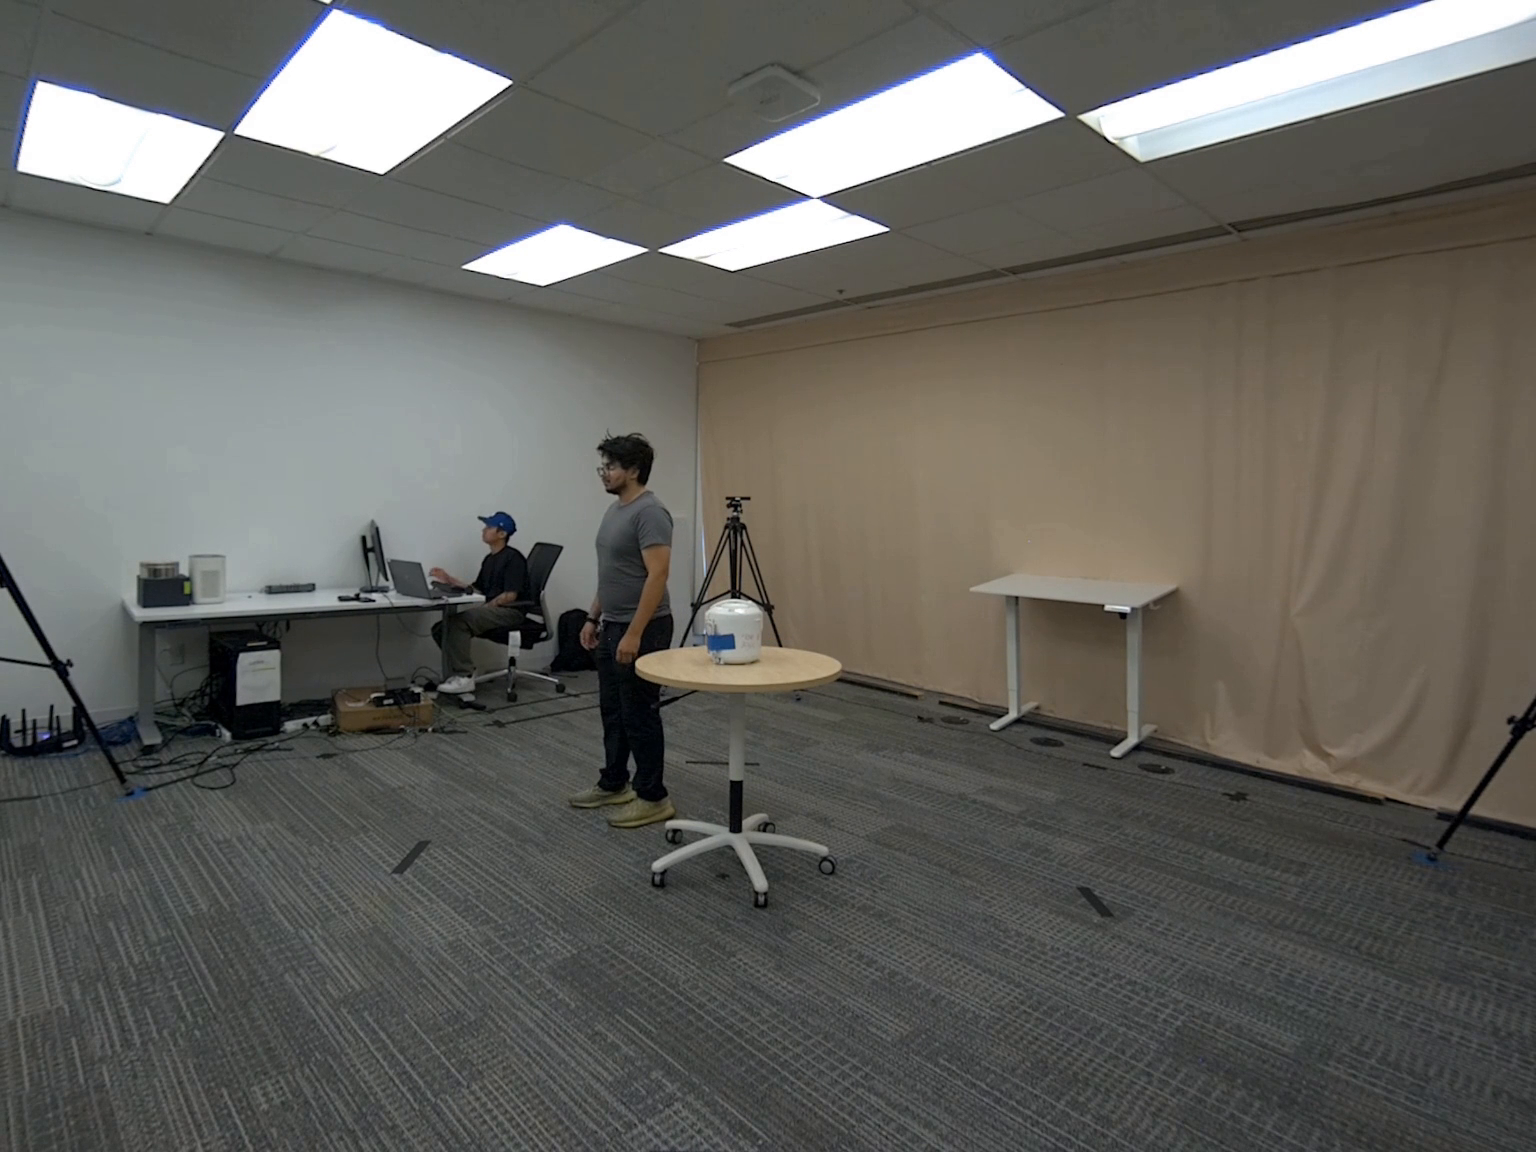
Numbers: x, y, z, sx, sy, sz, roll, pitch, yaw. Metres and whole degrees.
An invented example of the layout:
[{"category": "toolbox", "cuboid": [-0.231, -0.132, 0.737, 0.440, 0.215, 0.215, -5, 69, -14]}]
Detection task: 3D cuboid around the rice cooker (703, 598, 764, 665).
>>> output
[{"category": "rice cooker", "cuboid": [-0.135, 0.204, 3.173, 0.220, 0.232, 0.219, 1, 4, -5]}]
